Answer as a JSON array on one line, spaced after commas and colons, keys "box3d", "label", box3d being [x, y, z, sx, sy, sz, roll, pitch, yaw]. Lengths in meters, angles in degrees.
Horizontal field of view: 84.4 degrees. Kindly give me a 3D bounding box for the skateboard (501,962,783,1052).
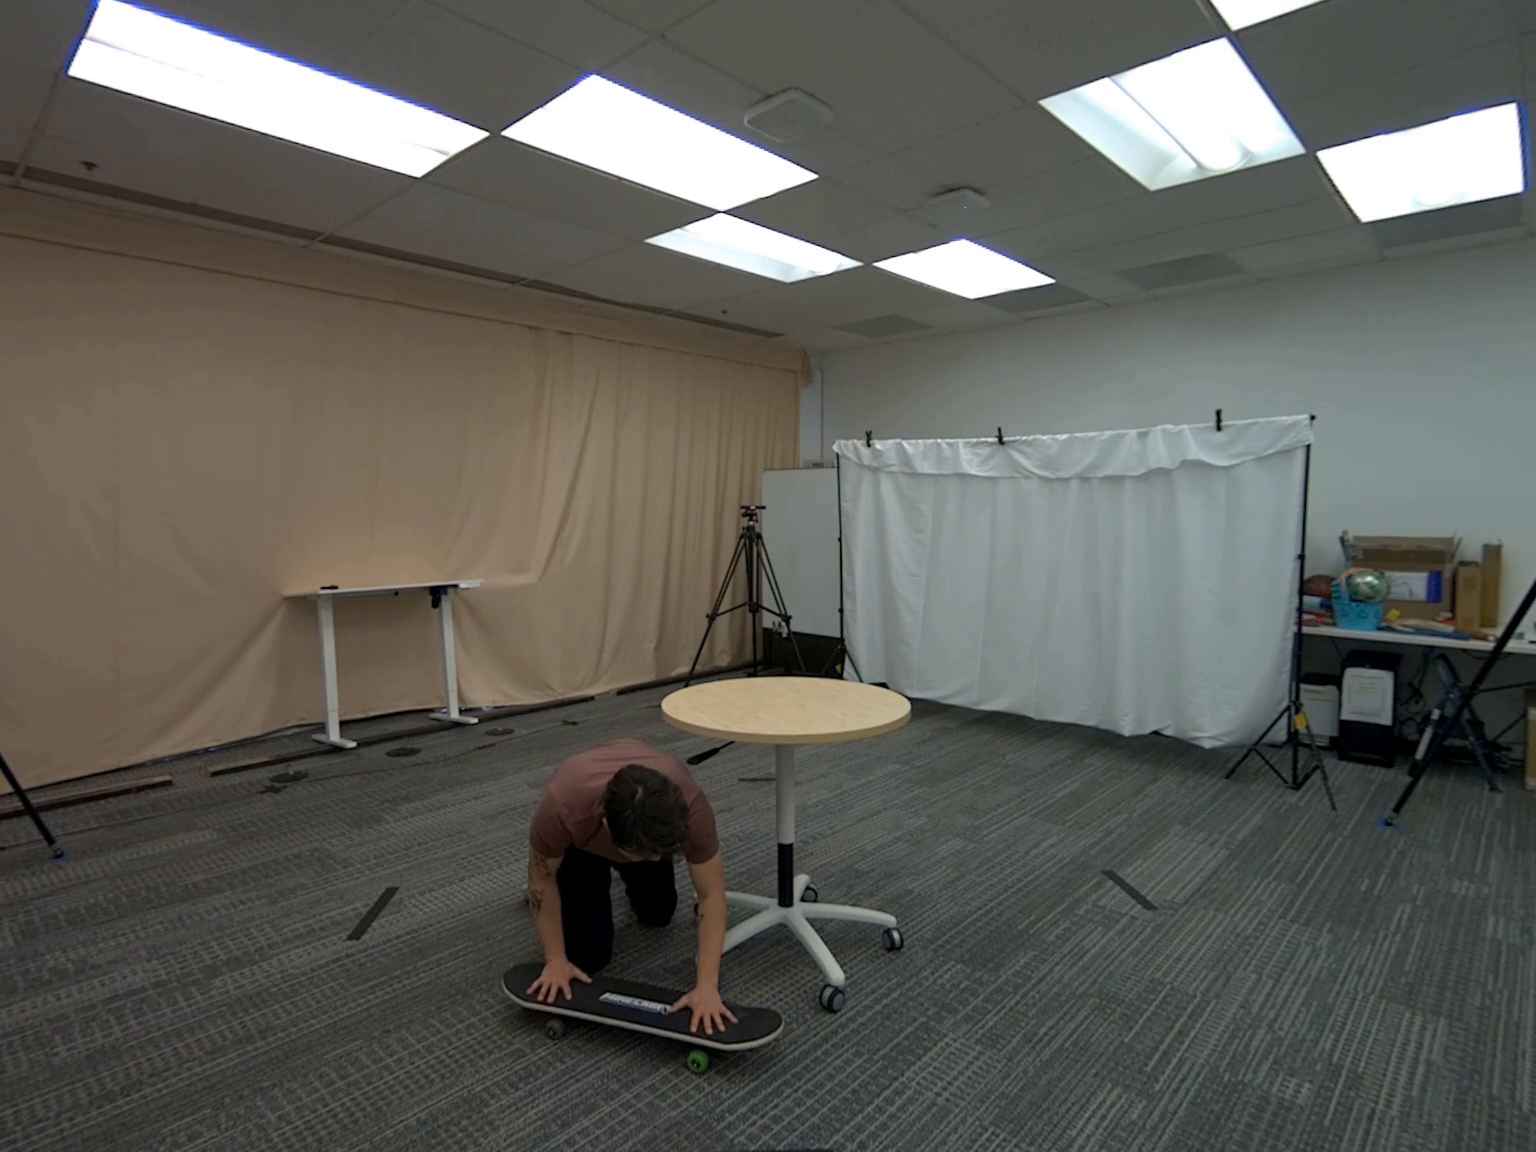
[{"box3d": [-0.324, 1.150, 2.209, 0.801, 0.110, 0.190, 2, 3, 18], "label": "skateboard"}]
